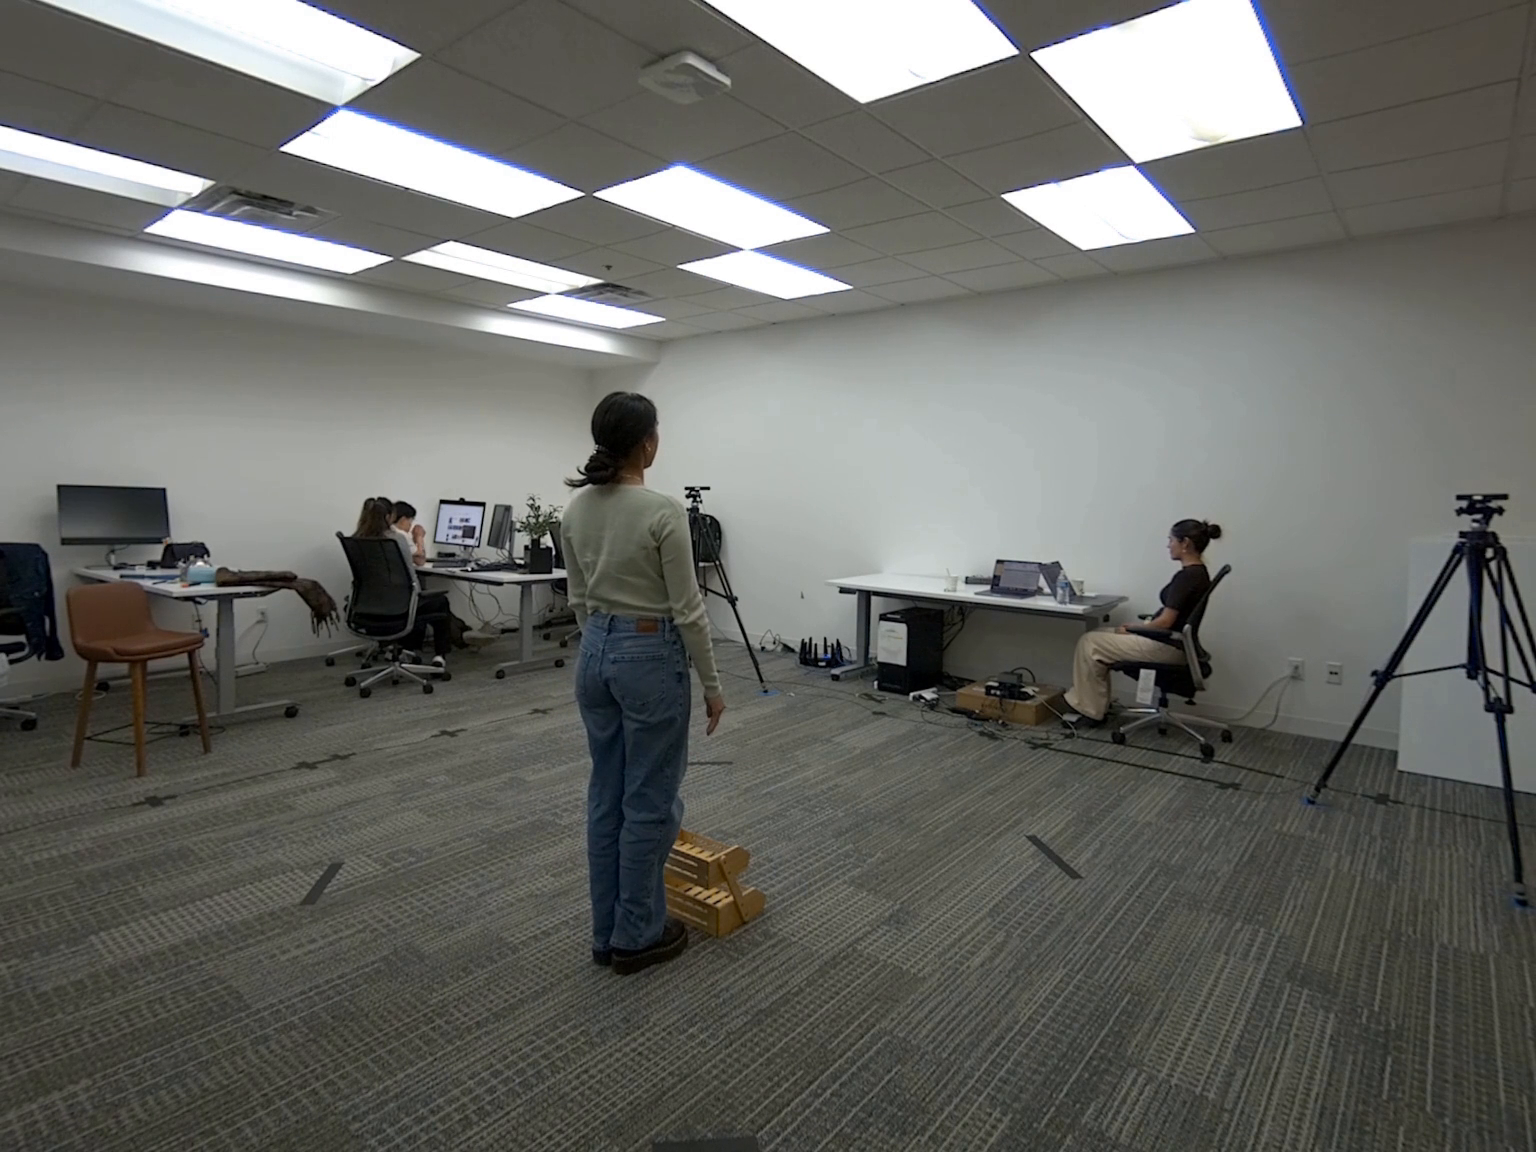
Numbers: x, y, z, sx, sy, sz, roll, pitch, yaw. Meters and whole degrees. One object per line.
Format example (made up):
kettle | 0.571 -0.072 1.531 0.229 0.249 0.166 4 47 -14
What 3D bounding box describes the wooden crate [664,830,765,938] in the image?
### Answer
wooden crate | -0.220 0.962 2.784 0.335 0.272 0.293 4 5 37
